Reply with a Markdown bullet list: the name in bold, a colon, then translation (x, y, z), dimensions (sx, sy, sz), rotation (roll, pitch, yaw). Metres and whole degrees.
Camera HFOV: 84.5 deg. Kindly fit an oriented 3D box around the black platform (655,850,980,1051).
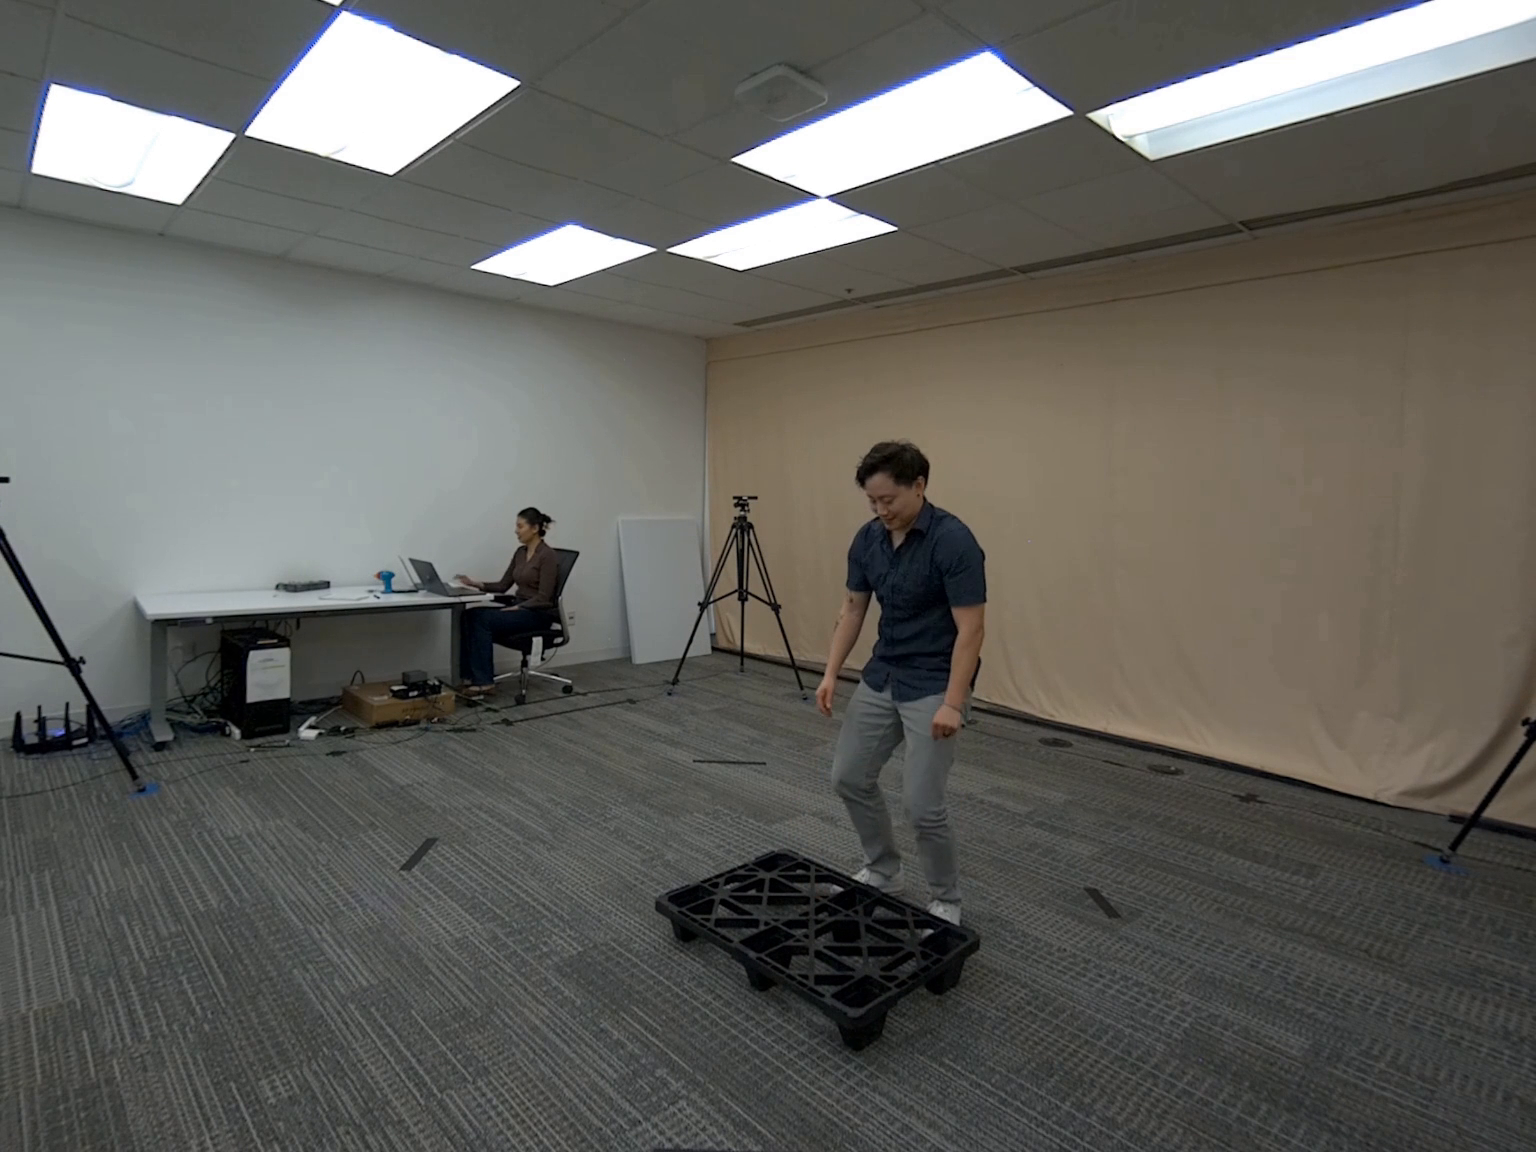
- **black platform**: translation (0.119, 1.097, 2.535), dimensions (0.591, 0.143, 0.826), rotation (-5, 8, -44)
